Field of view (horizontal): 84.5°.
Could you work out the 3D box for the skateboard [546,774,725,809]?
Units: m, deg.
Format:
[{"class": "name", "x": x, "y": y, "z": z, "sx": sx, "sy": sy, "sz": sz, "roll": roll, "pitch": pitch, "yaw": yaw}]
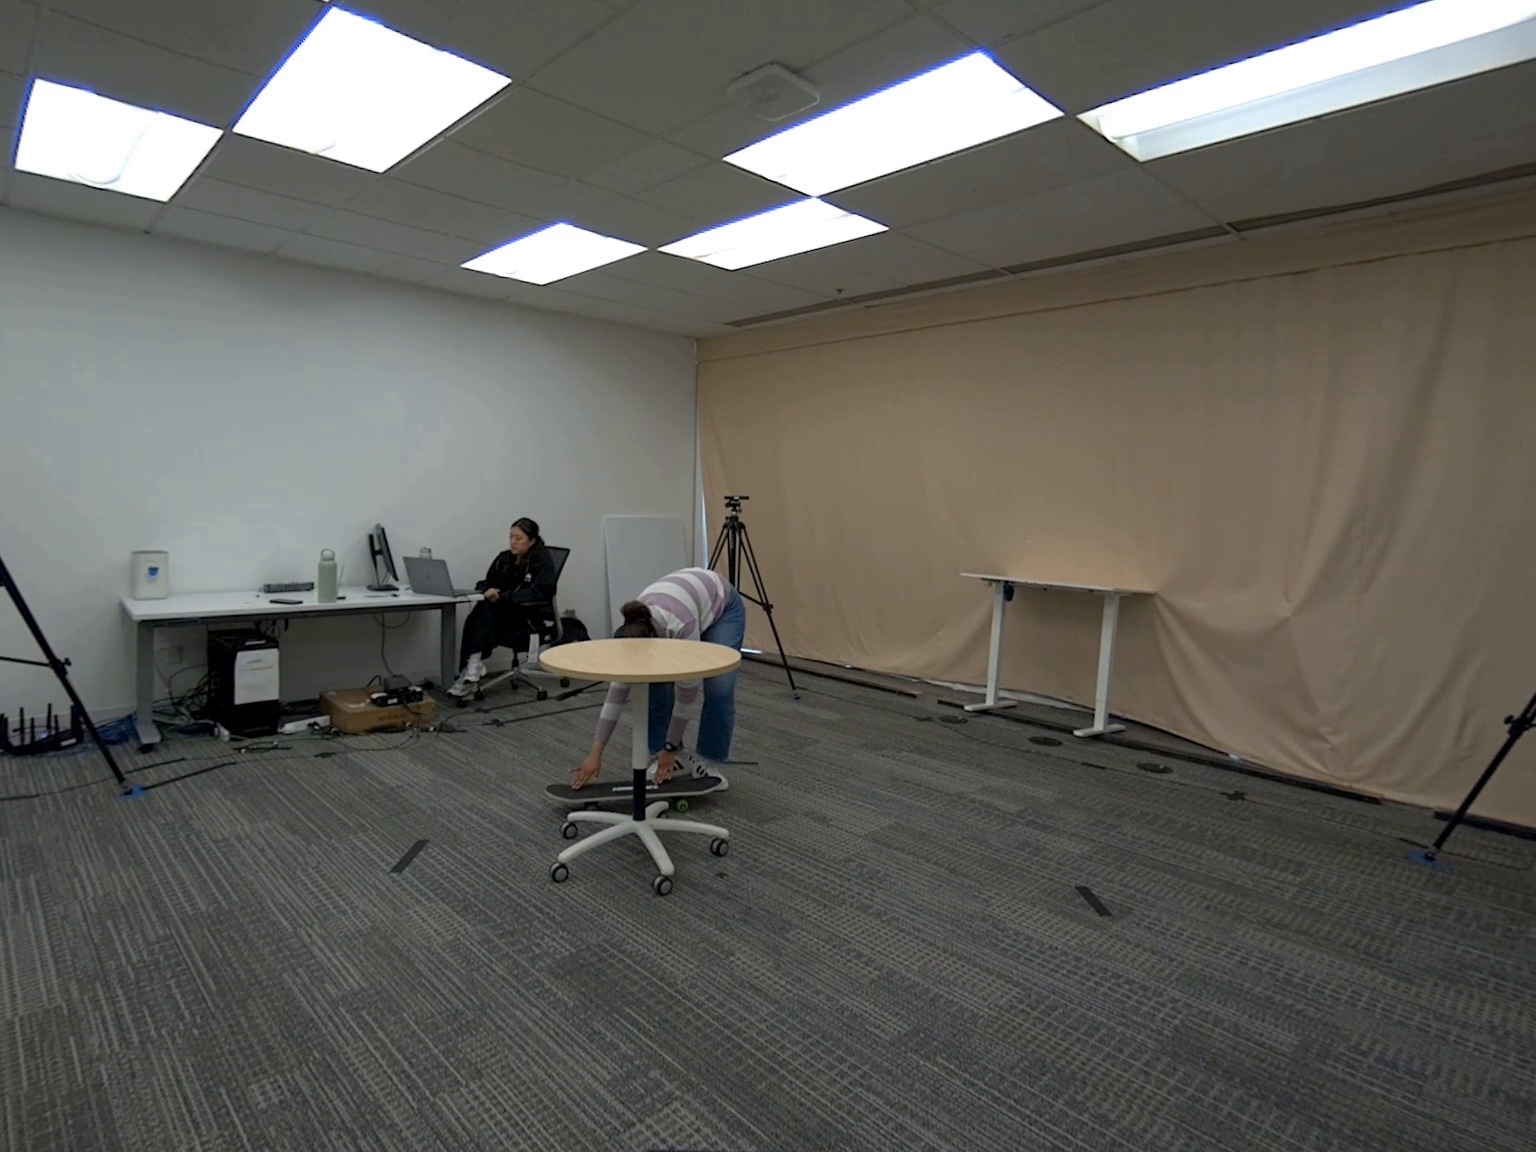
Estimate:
[{"class": "skateboard", "x": -0.604, "y": 0.979, "z": 3.752, "sx": 0.777, "sy": 0.110, "sz": 0.196, "roll": 0, "pitch": 5, "yaw": -13}]
